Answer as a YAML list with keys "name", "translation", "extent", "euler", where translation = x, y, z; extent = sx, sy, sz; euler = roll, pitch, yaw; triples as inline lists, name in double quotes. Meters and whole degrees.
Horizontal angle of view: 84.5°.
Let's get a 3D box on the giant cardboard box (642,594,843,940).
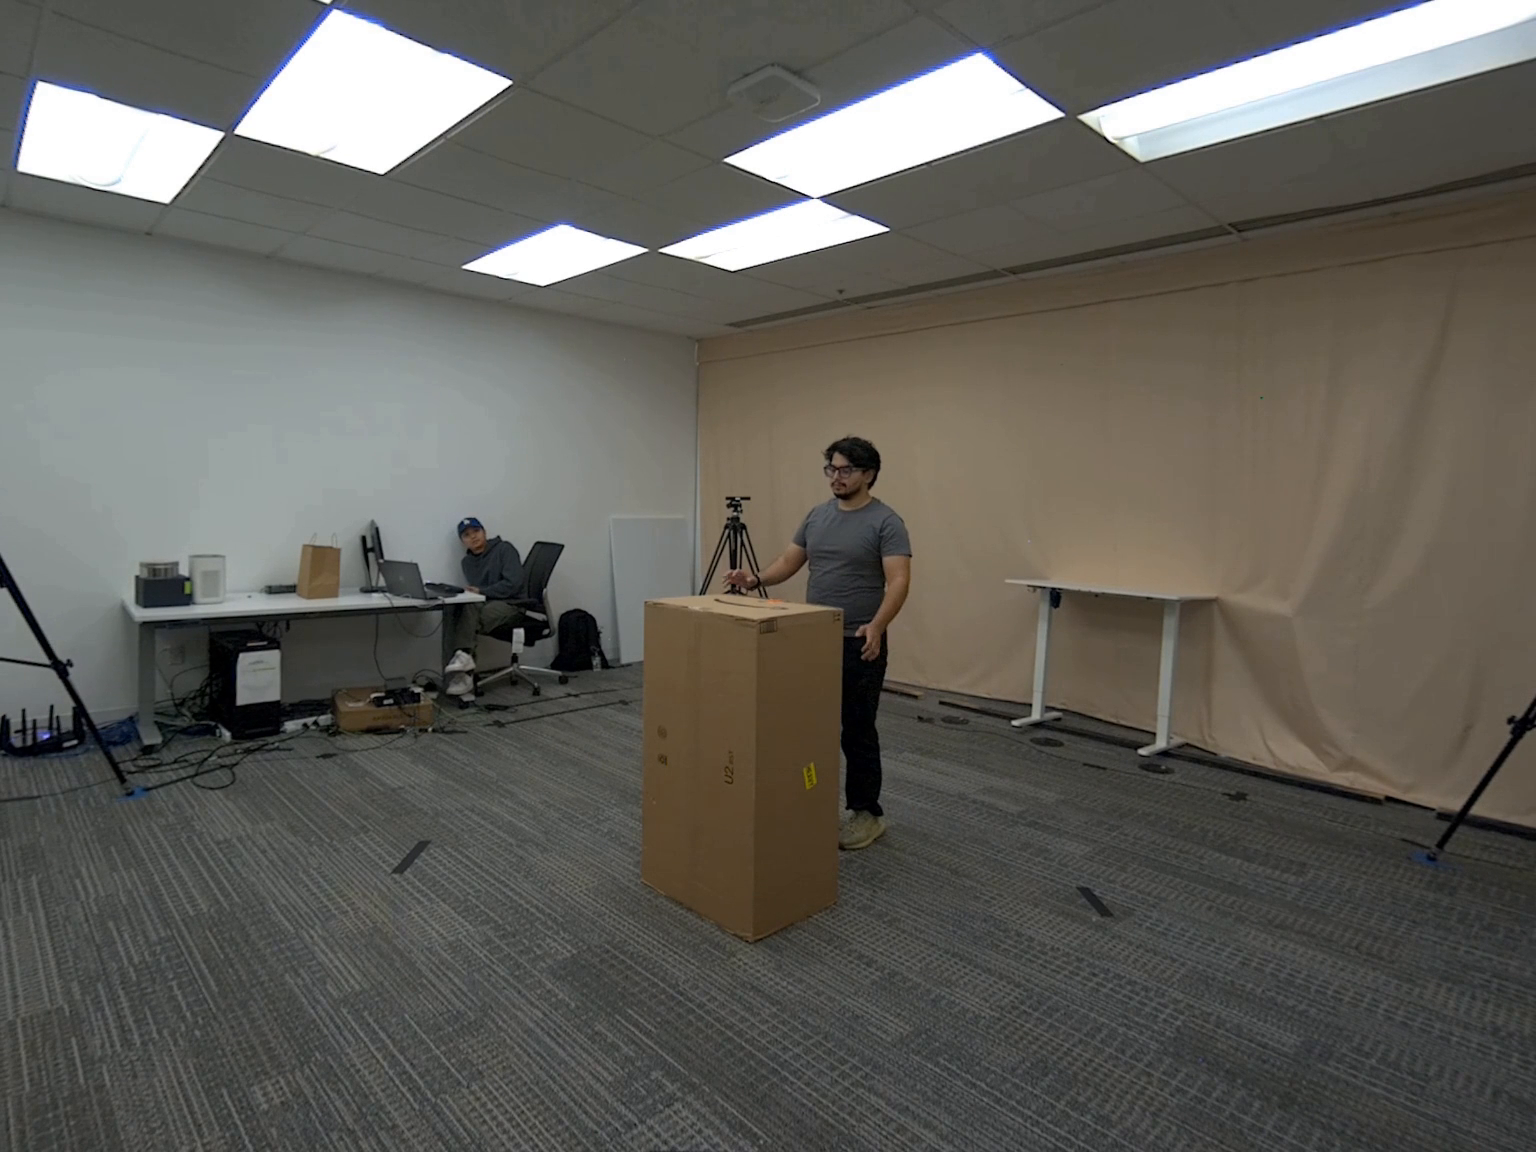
- name: "giant cardboard box"
  translation: [-0.105, 0.612, 2.956]
  extent: [0.416, 1.023, 0.592]
  euler: [-2, 4, -44]
